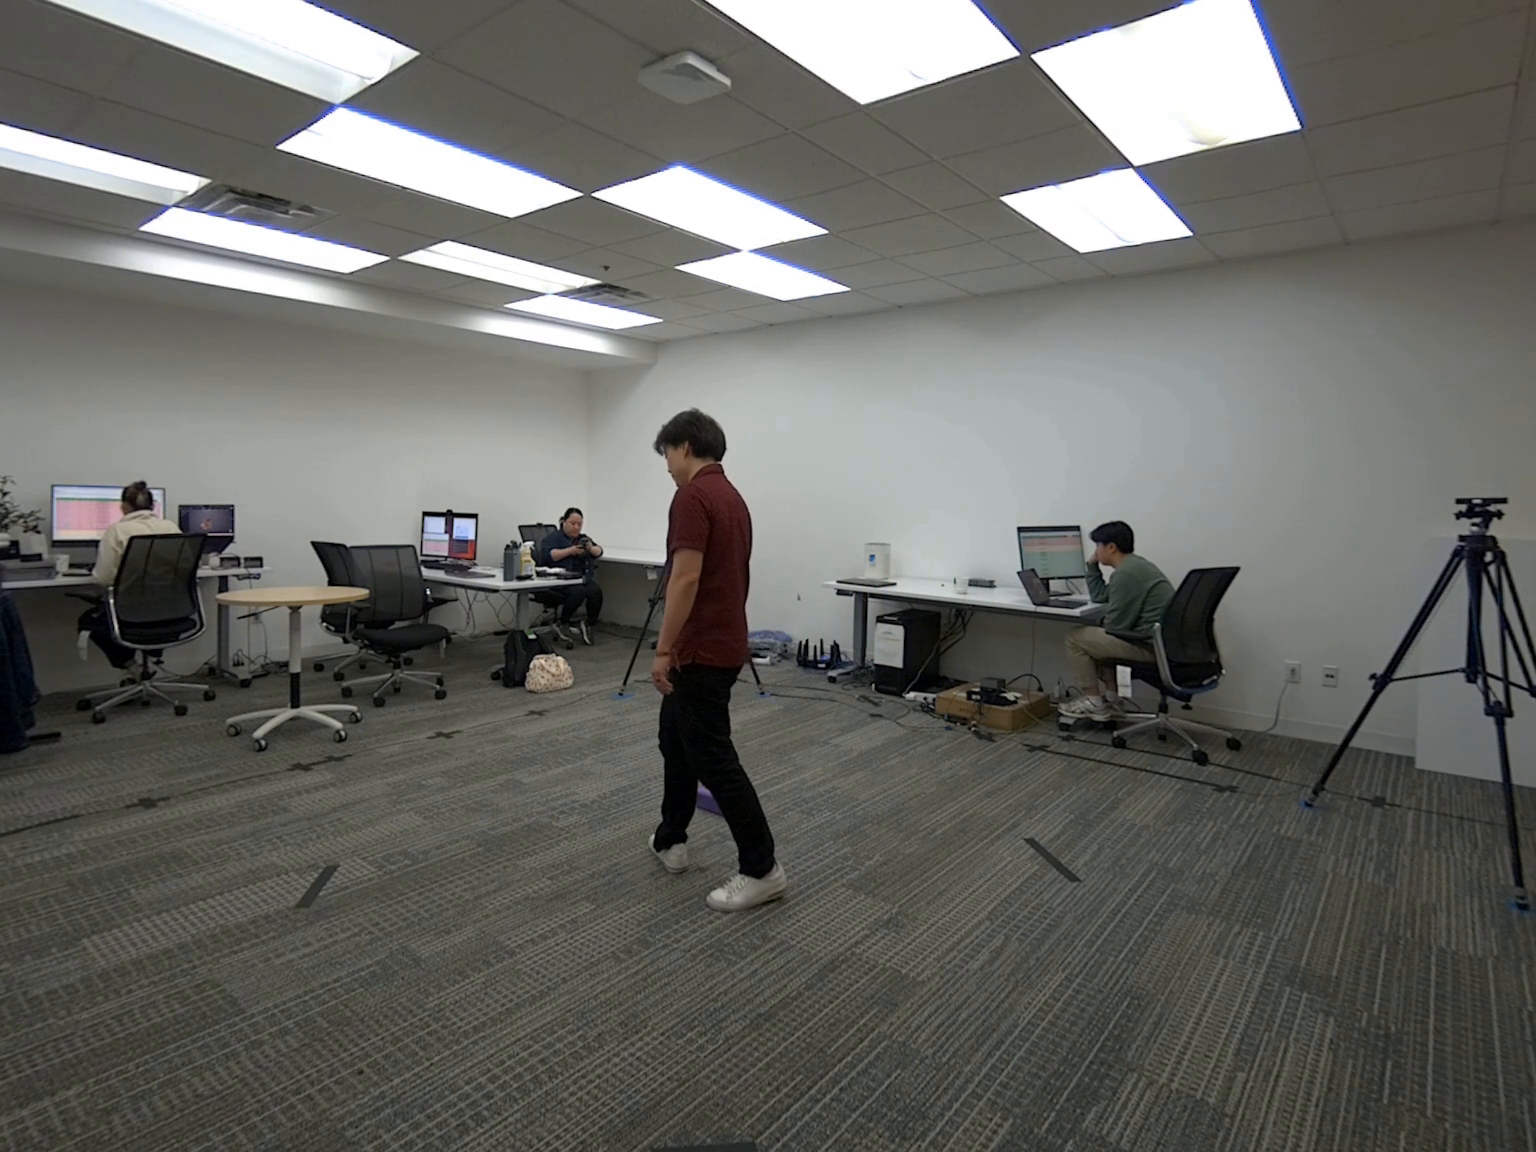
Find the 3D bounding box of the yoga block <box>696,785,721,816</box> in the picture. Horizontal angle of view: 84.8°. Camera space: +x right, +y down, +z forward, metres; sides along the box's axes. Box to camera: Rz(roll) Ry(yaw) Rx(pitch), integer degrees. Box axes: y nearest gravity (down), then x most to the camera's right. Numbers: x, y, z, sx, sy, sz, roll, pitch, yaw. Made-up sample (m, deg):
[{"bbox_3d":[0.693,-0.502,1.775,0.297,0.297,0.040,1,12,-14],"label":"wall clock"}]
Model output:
[{"bbox_3d":[-0.191,0.972,3.699,0.237,0.076,0.144,4,5,37],"label":"yoga block"}]
